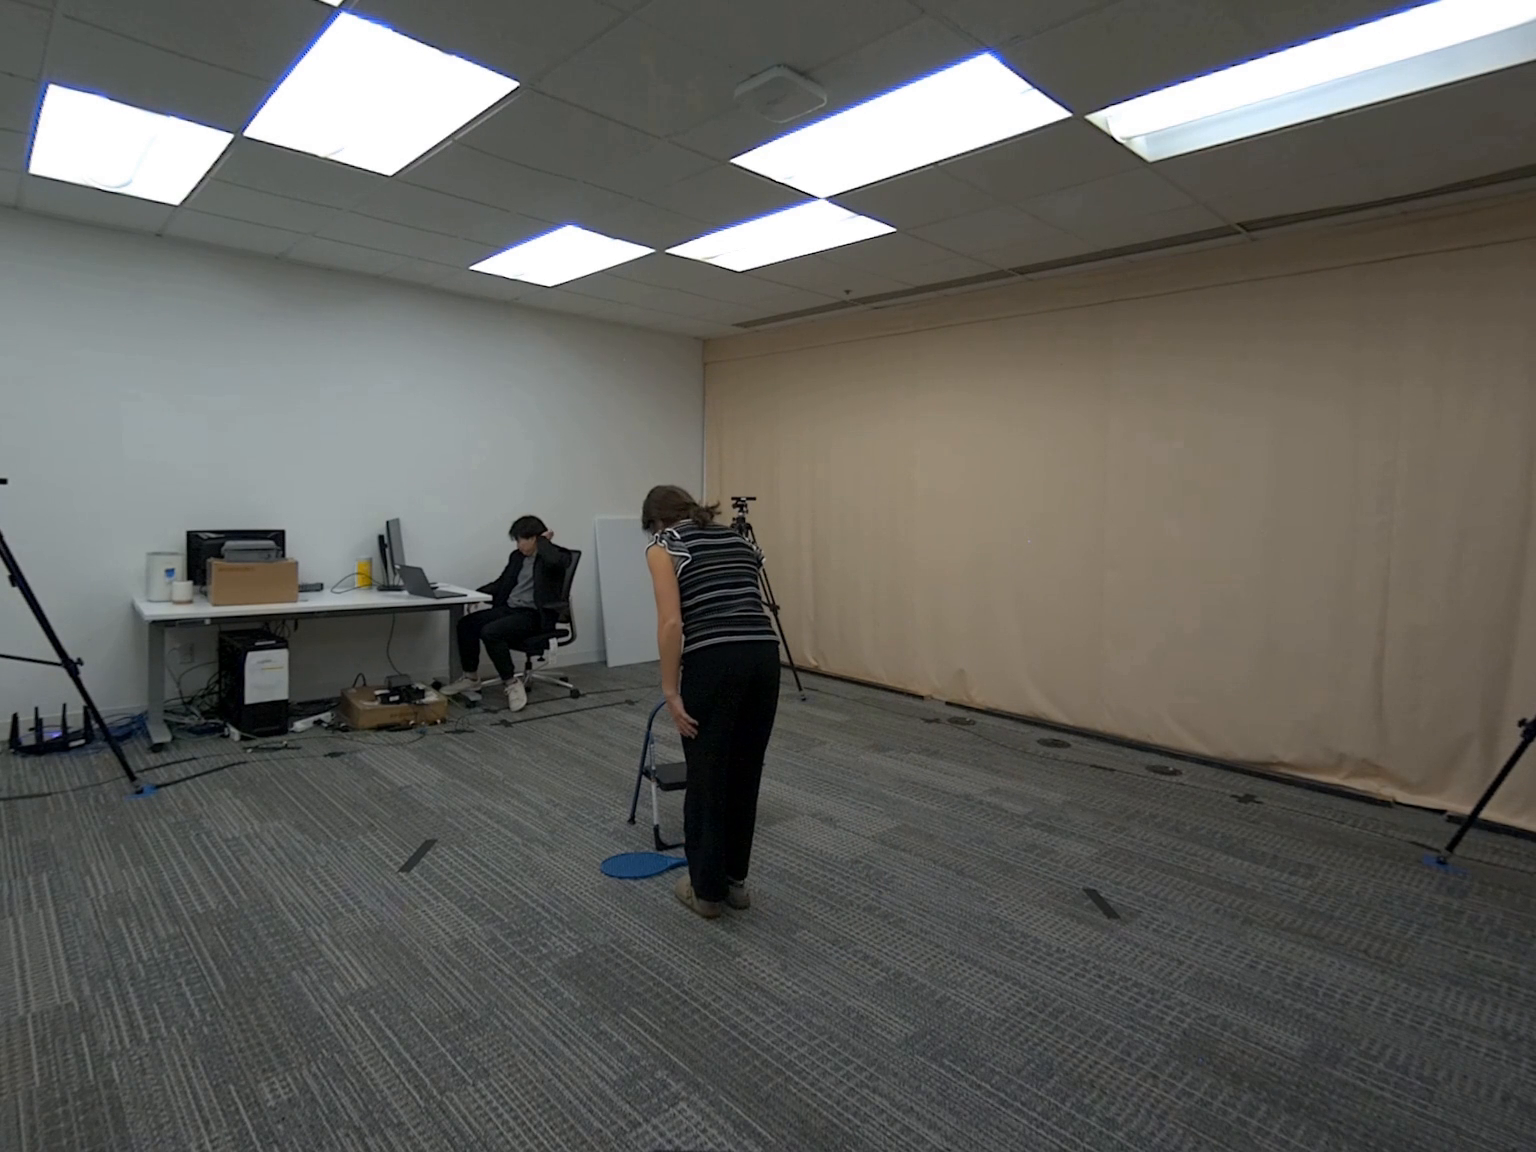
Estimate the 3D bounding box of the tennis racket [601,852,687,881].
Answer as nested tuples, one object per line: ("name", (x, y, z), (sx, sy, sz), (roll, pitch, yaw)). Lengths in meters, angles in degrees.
("tennis racket", (-0.421, 1.080, 3.166), (0.431, 0.031, 0.216), (-1, 6, -6))
